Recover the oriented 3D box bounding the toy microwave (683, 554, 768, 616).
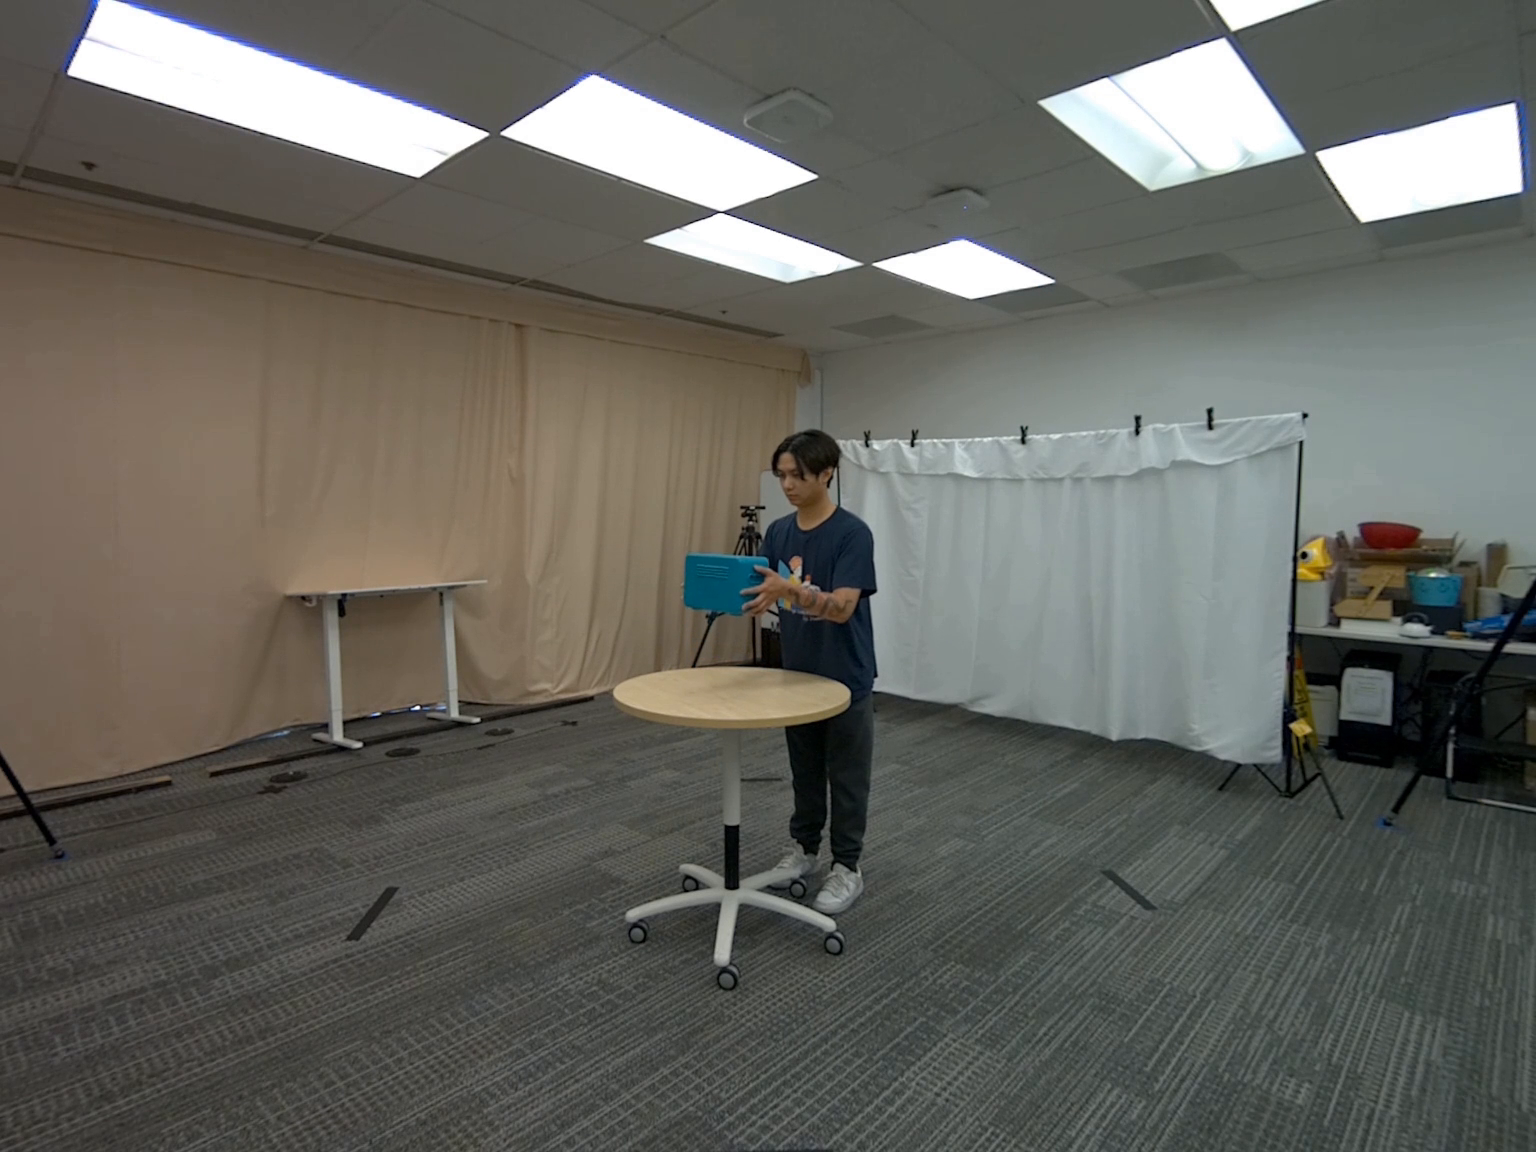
[{"bbox_3d":[-0.124,0.027,2.696,0.147,0.184,0.296,-1,4,-42],"label":"toy microwave"}]
